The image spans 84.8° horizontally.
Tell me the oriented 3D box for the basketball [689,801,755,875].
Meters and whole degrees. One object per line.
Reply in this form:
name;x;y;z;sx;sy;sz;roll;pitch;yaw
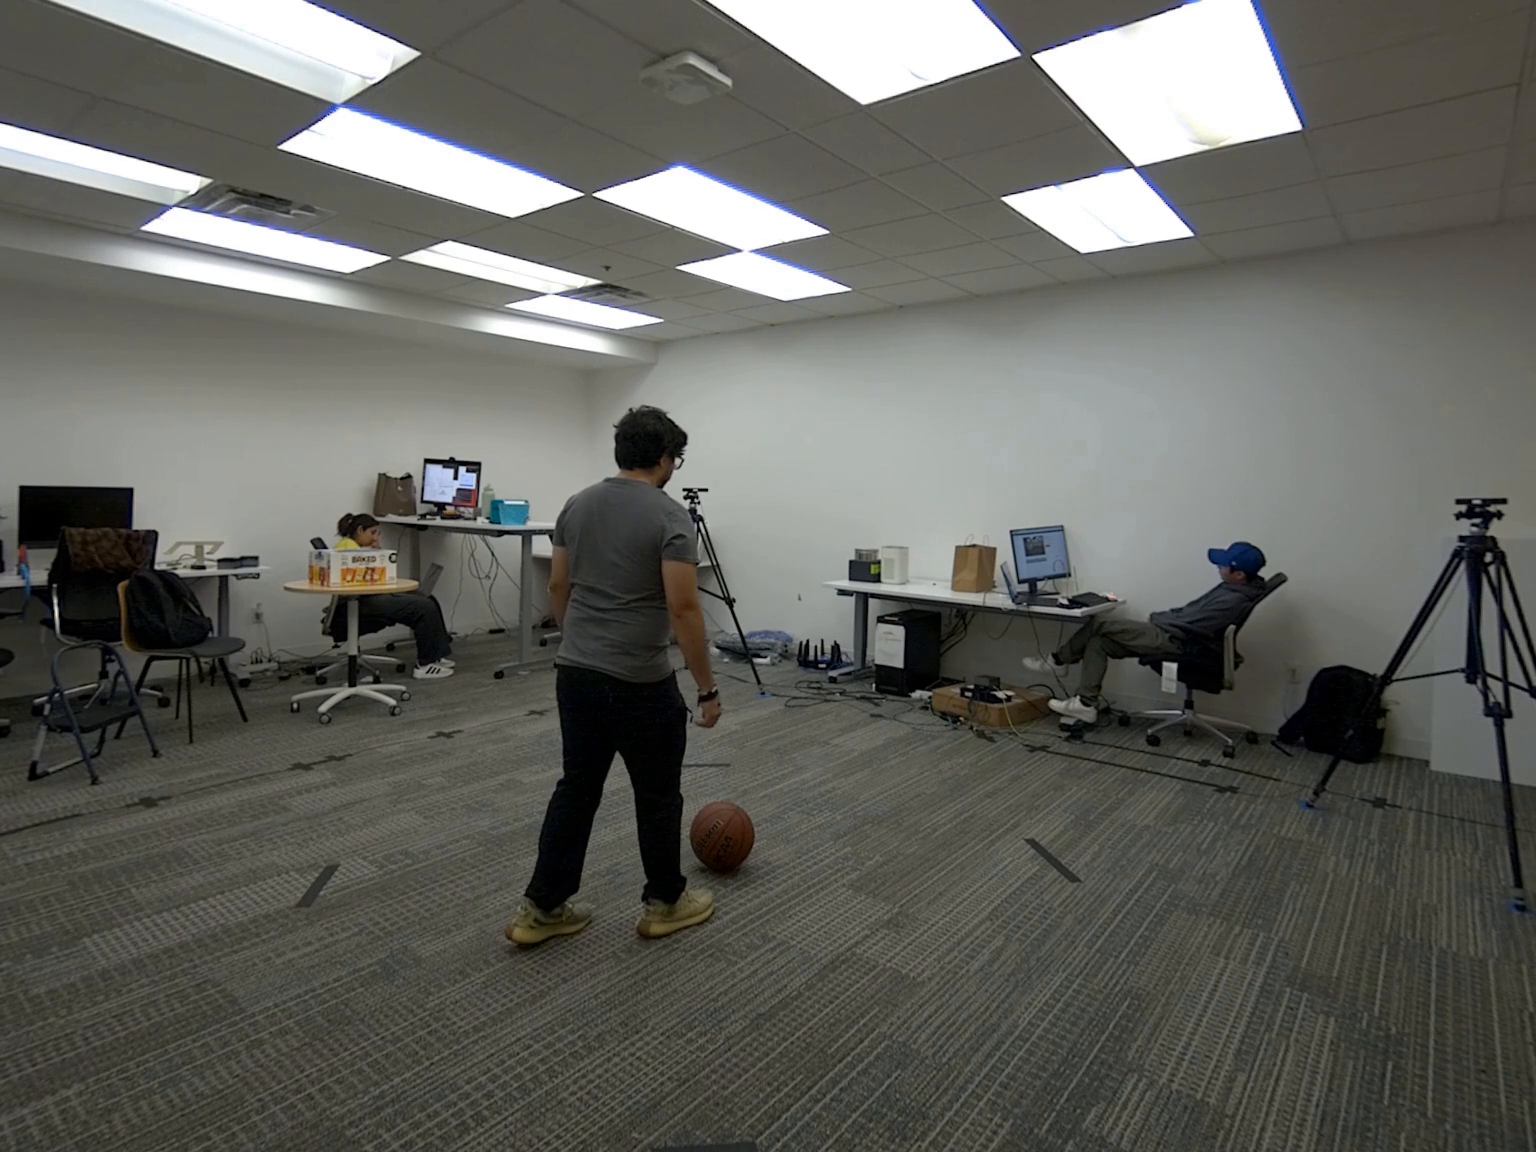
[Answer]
basketball;-0.179;0.946;3.123;0.235;0.235;0.237;1;4;-2
